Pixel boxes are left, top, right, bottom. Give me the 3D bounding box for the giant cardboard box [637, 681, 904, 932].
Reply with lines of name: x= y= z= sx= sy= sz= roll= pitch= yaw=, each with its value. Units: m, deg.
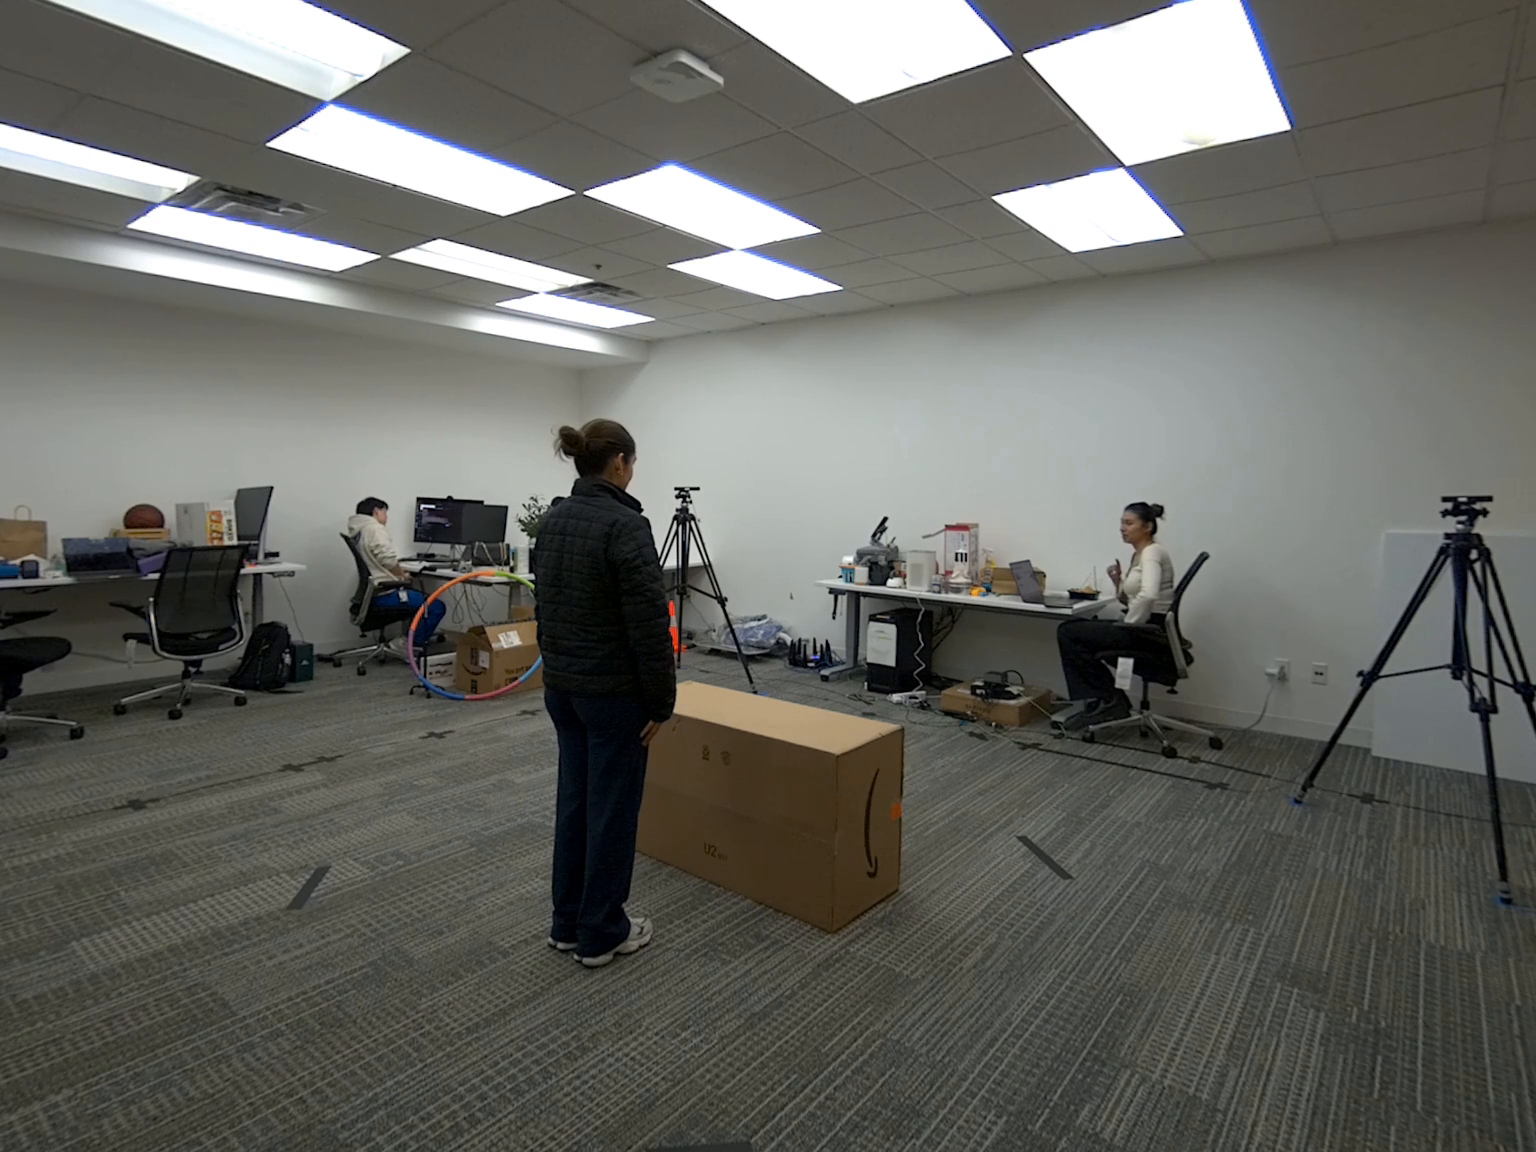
giant cardboard box: x=-0.050 y=0.779 z=3.149 sx=1.062 sy=0.581 sz=0.434 roll=6 pitch=7 yaw=40
